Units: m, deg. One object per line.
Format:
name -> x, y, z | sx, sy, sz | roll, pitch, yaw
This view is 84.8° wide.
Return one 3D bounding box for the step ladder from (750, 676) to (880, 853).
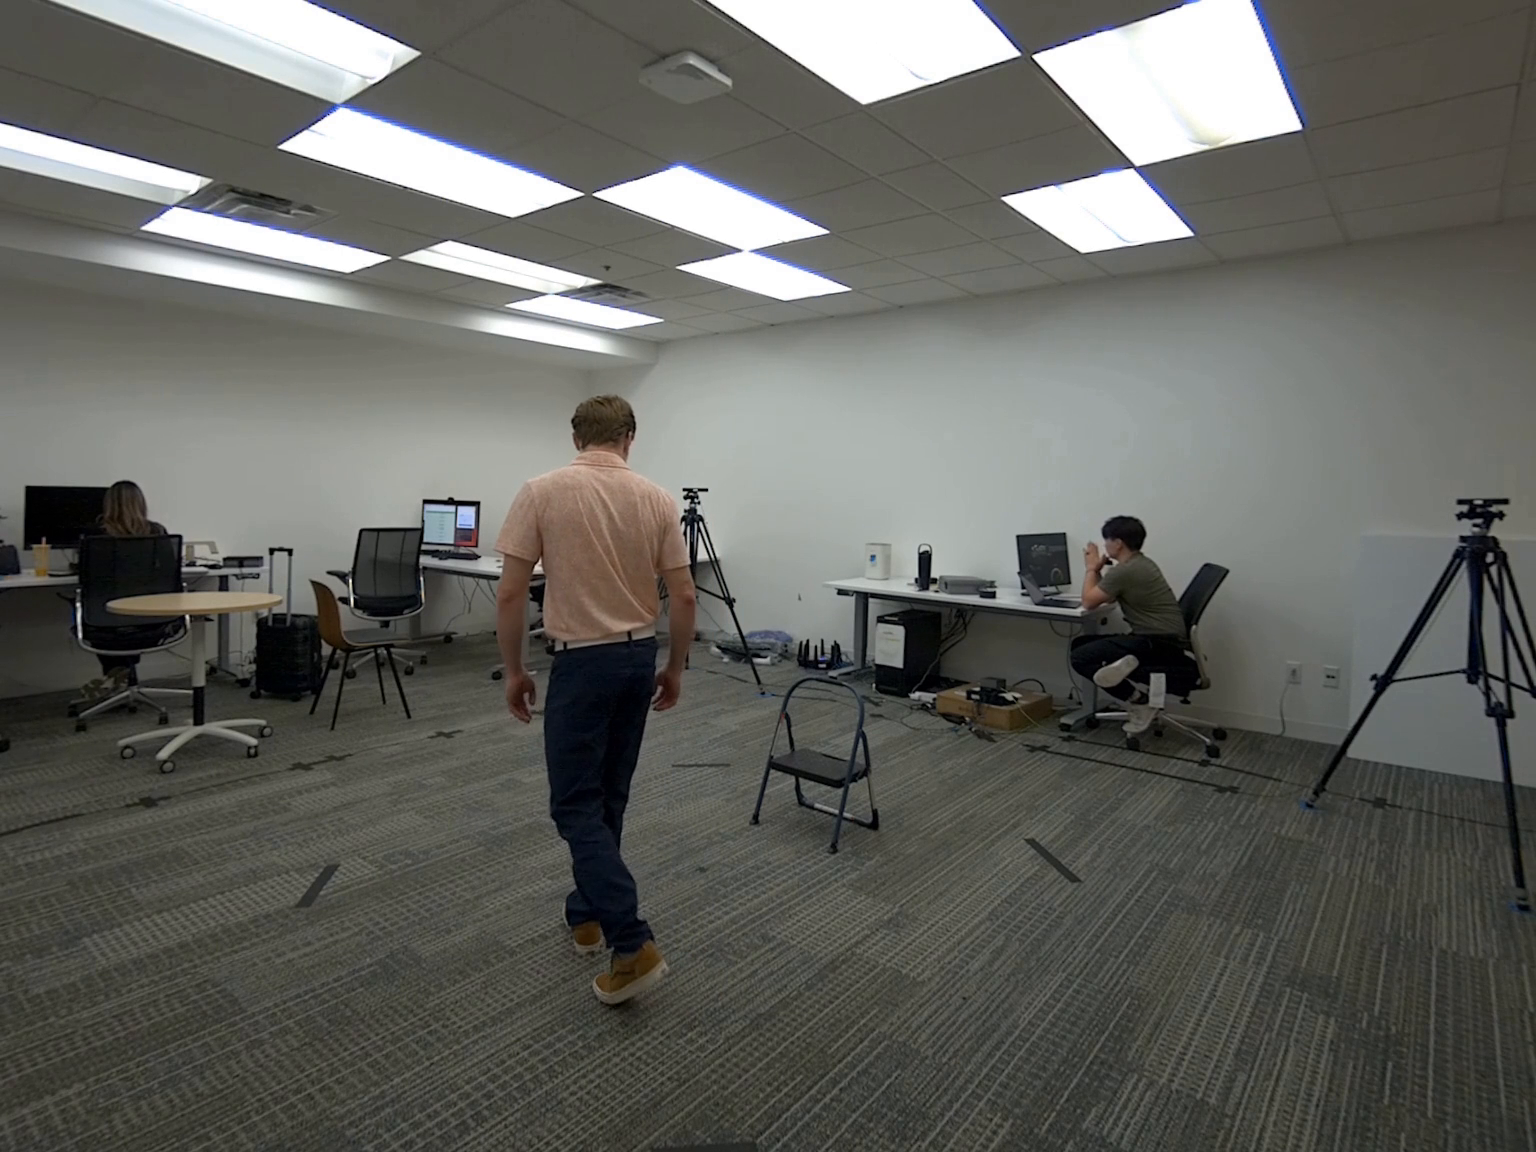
step ladder -> 0.195, 0.742, 3.522 | 0.445, 0.604, 0.339 | 5, 5, 40
